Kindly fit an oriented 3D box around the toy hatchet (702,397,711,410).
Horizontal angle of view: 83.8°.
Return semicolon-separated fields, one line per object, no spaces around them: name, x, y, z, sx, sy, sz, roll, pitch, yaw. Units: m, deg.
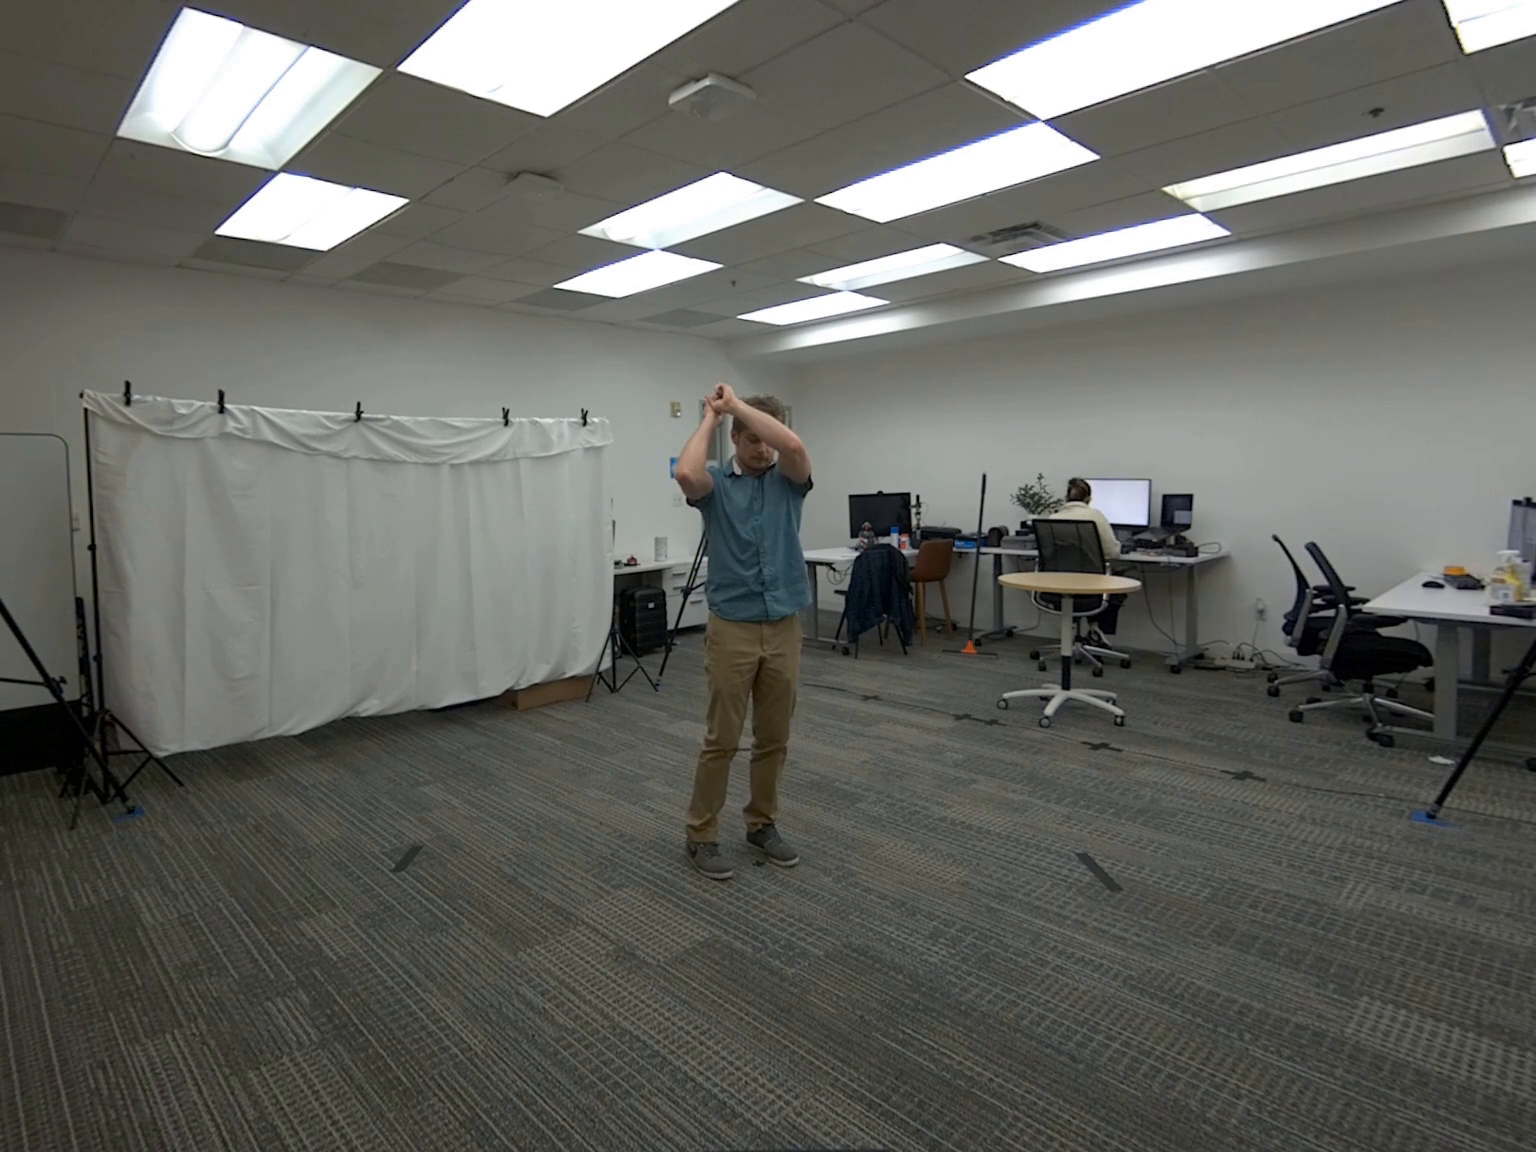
toy hatchet;-0.182;-0.616;3.087;0.029;0.134;0.268;4;-26;-18
